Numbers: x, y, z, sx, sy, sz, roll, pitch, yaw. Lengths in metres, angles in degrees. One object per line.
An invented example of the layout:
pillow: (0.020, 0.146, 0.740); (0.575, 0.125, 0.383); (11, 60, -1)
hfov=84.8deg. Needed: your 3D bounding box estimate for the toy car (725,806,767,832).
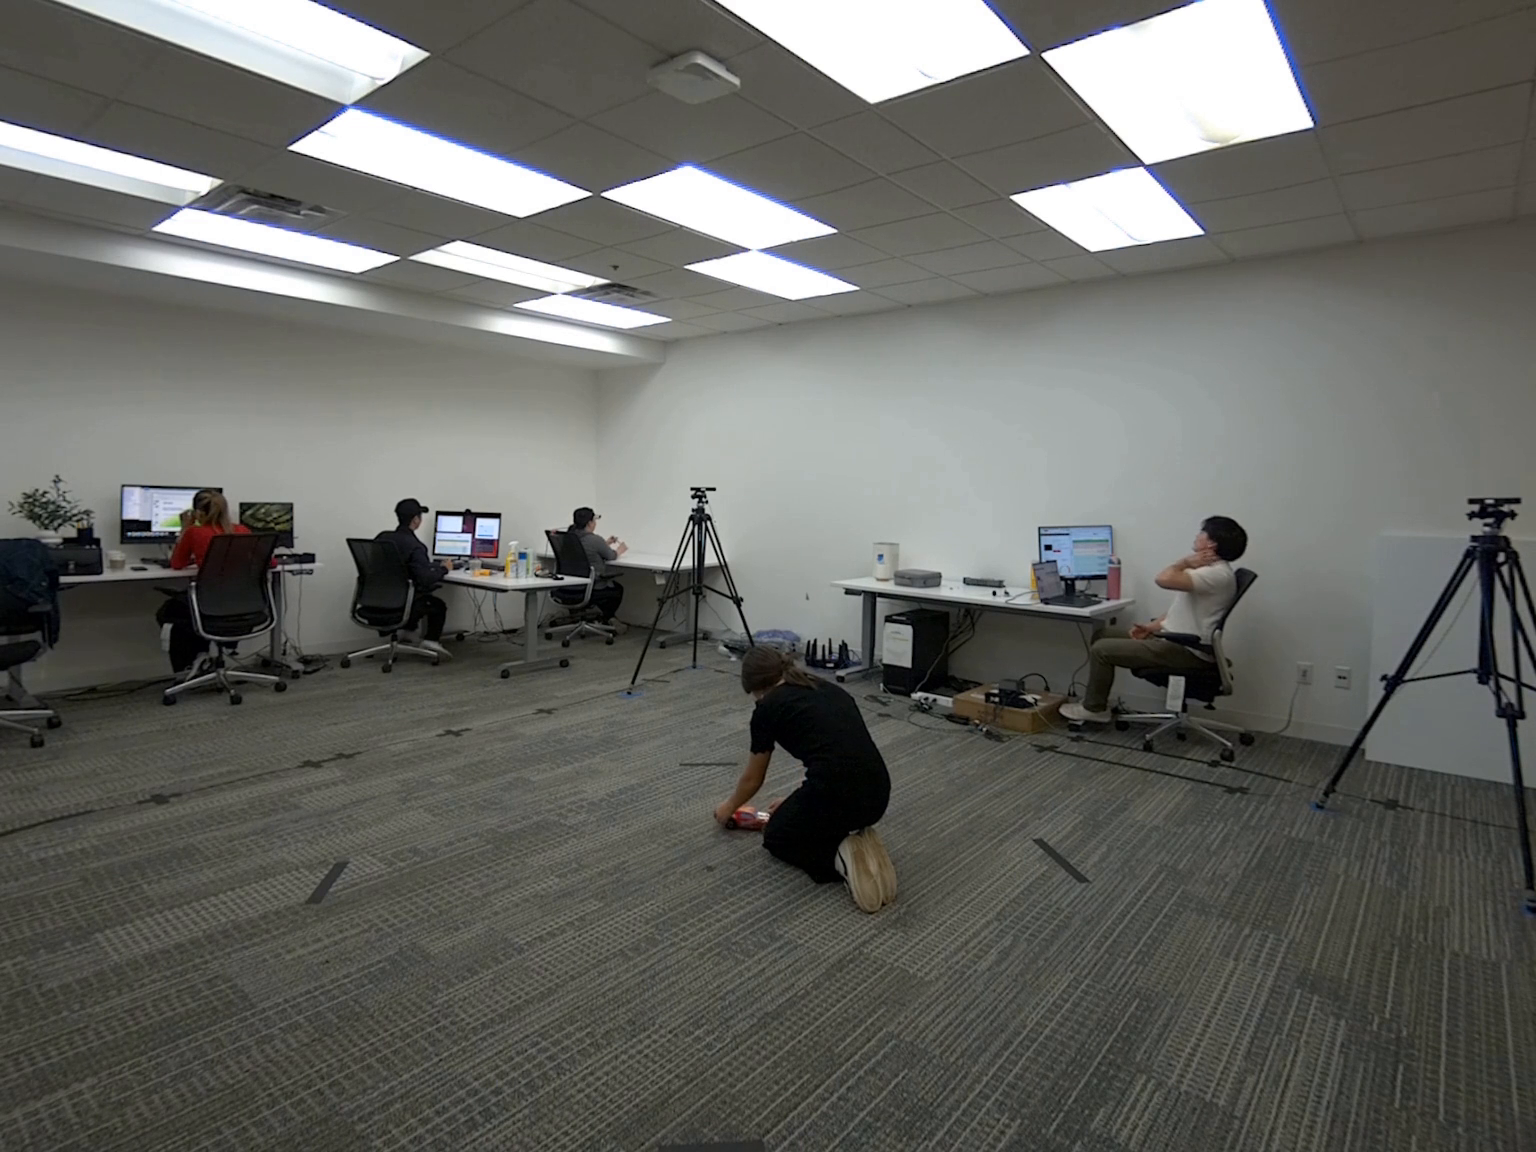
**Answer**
toy car: (-0.107, 0.998, 3.512); (0.257, 0.083, 0.129); (14, 6, 8)
